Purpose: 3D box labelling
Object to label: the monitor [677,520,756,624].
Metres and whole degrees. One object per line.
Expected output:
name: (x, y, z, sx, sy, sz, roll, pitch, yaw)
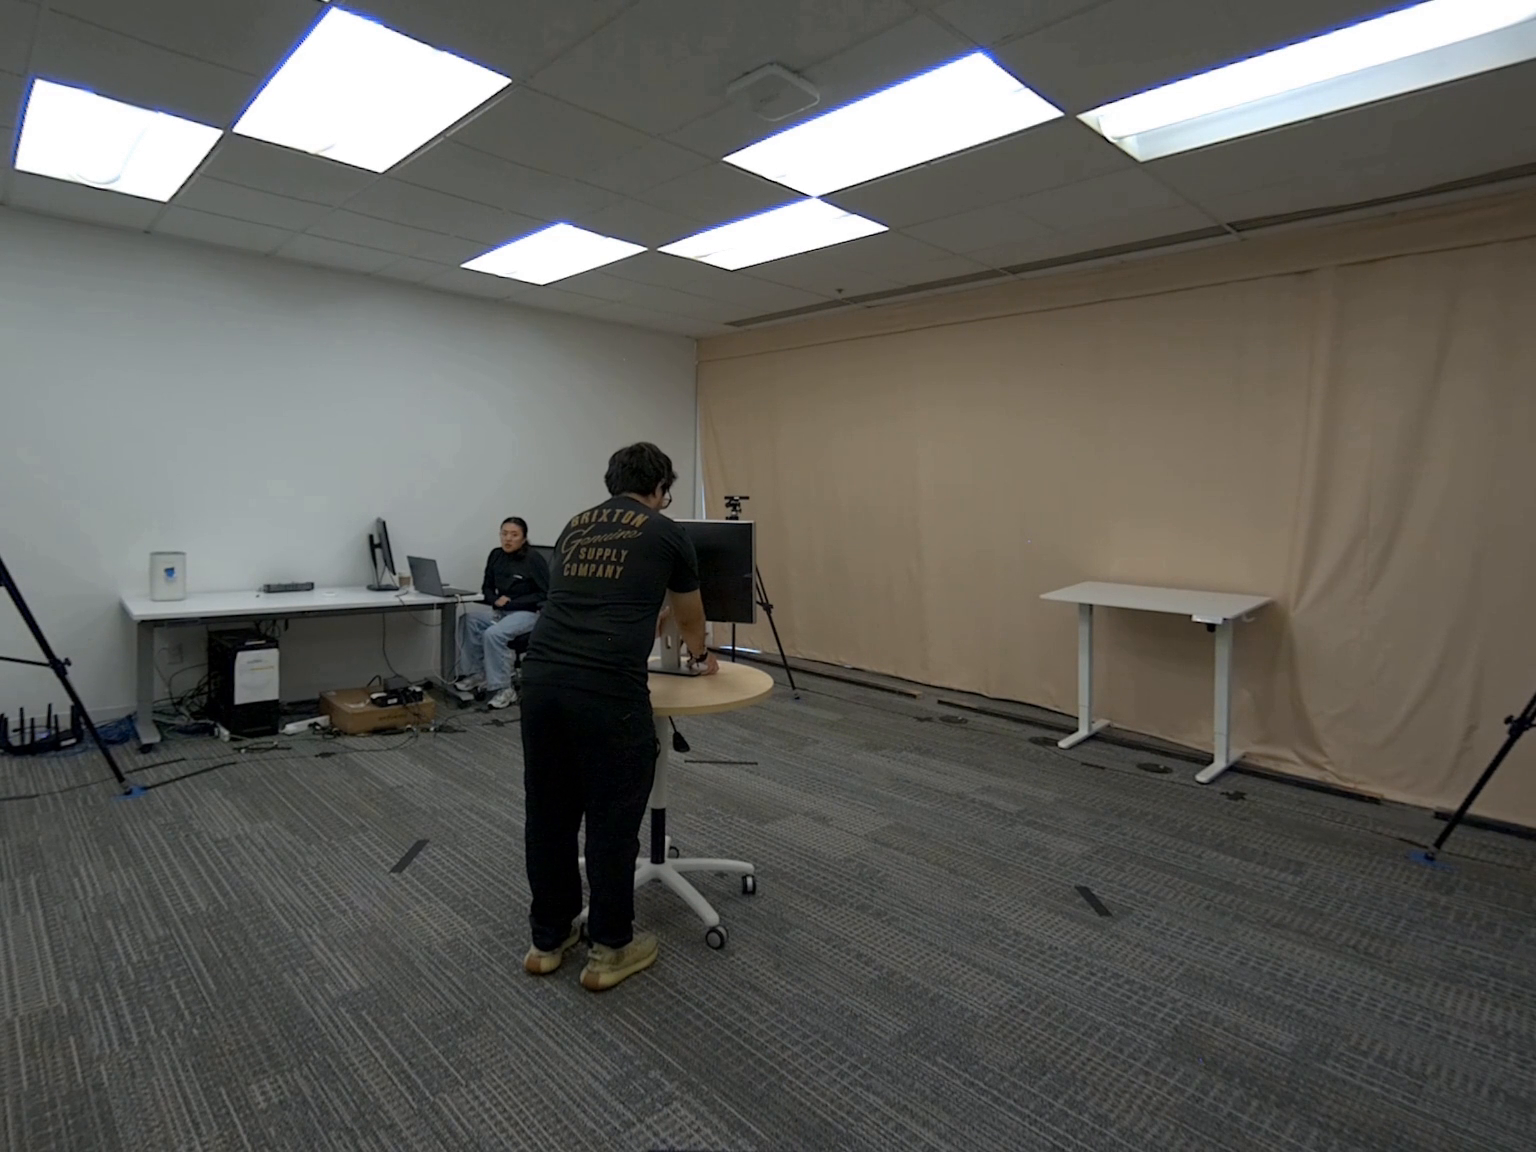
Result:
monitor: (-0.332, 0.075, 2.967, 0.575, 0.552, 0.207, 3, 6, 21)
